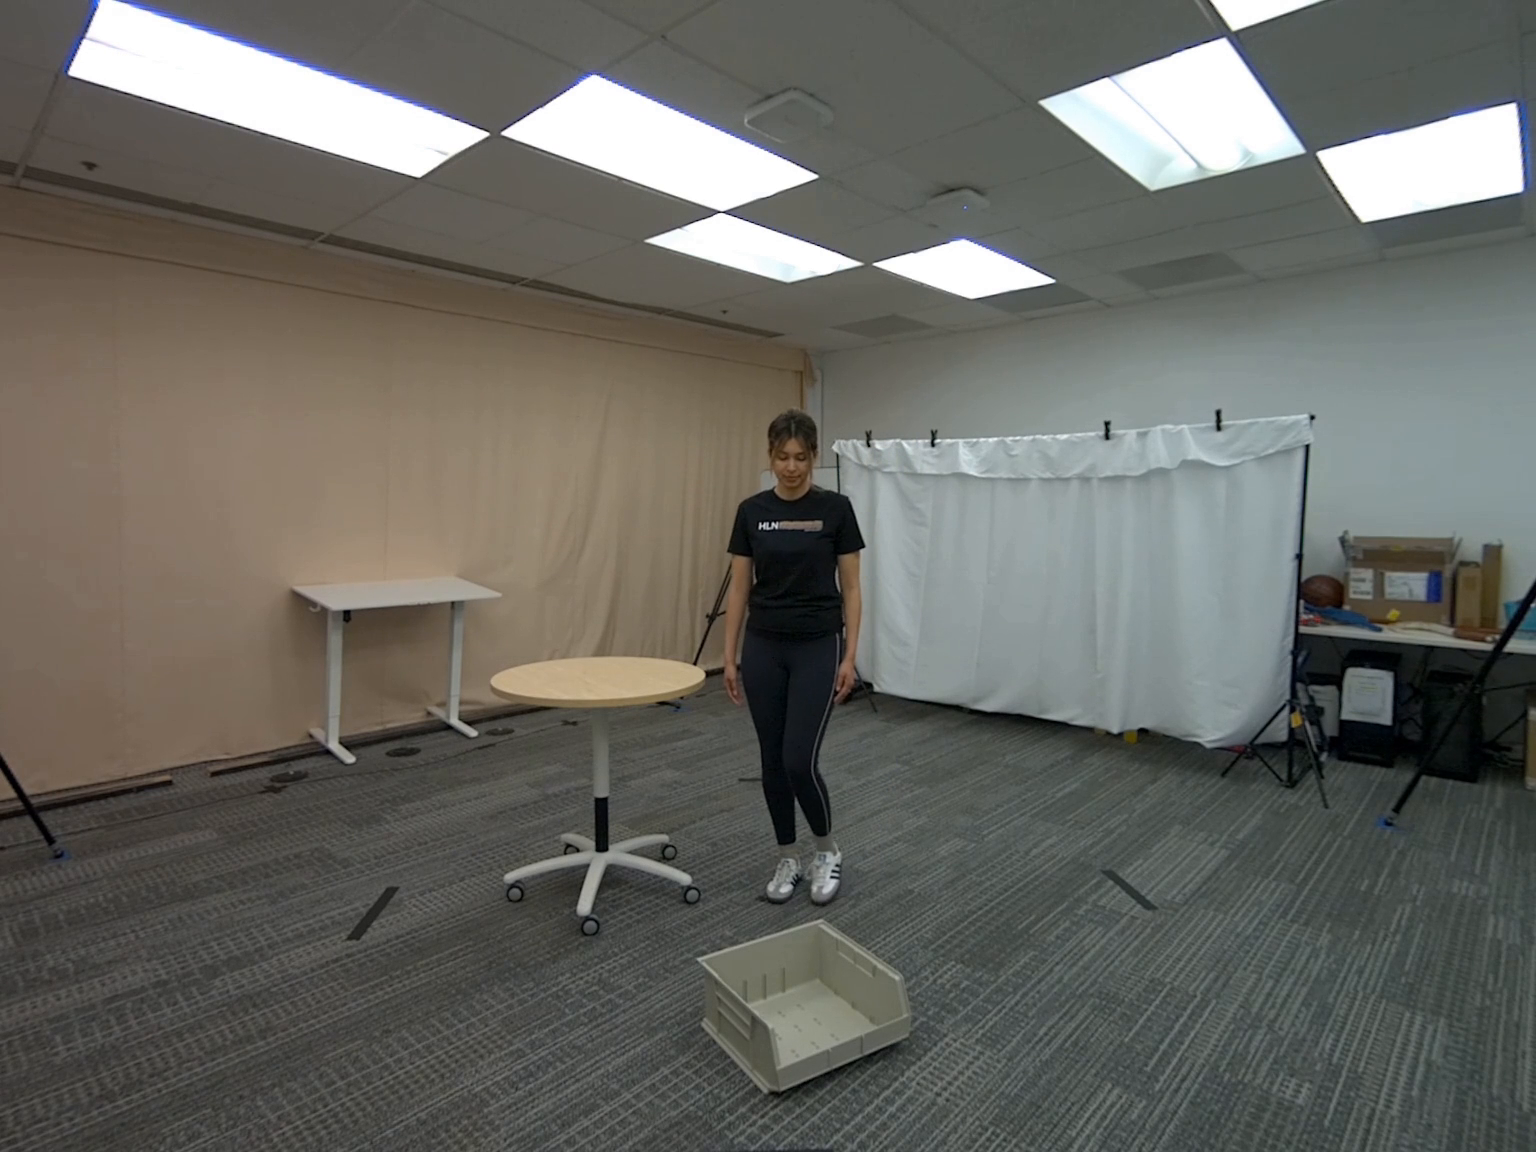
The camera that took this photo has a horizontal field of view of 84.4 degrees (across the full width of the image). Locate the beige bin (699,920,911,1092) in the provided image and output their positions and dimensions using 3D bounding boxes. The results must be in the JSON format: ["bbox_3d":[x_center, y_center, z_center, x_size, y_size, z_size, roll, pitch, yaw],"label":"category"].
[{"bbox_3d":[0.090,1.122,2.202,0.411,0.188,0.389,-3,5,-32],"label":"beige bin"}]
